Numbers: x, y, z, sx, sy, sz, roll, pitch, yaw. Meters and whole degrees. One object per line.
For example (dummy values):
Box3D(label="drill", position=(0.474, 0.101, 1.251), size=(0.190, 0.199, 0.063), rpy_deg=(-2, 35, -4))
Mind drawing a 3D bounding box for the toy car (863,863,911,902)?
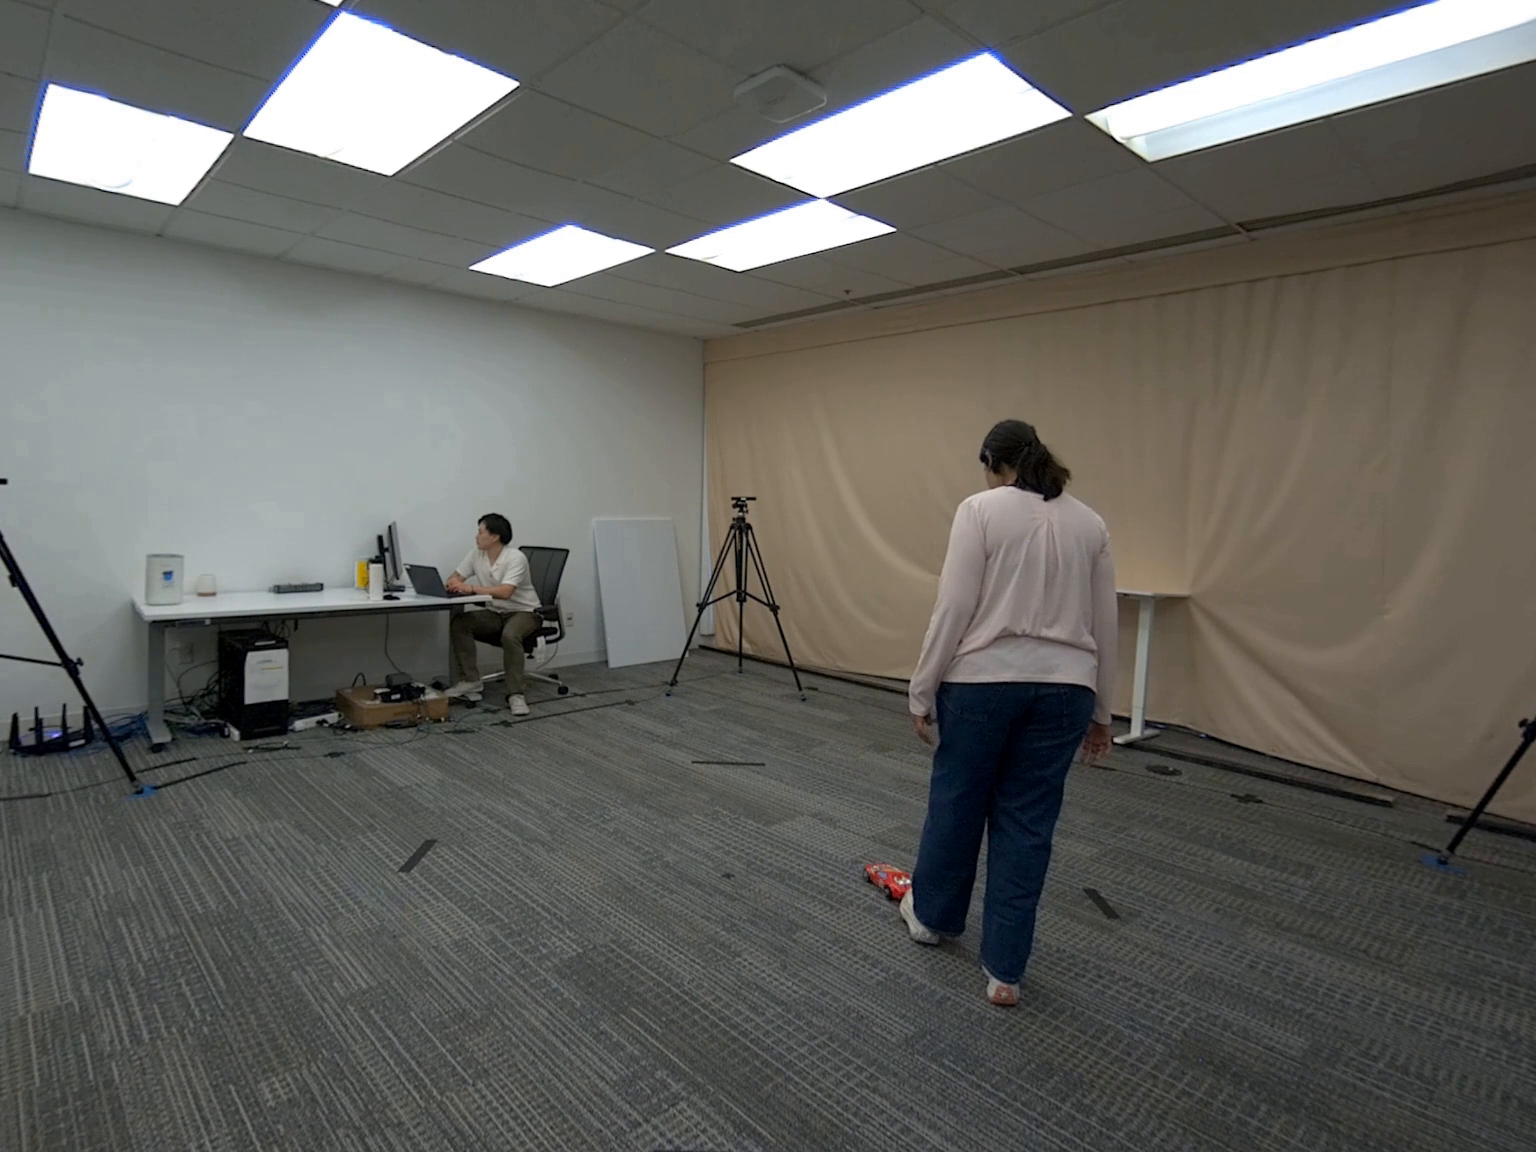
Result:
Box3D(label="toy car", position=(0.441, 1.098, 3.015), size=(0.128, 0.083, 0.257), rpy_deg=(0, -6, -23))
